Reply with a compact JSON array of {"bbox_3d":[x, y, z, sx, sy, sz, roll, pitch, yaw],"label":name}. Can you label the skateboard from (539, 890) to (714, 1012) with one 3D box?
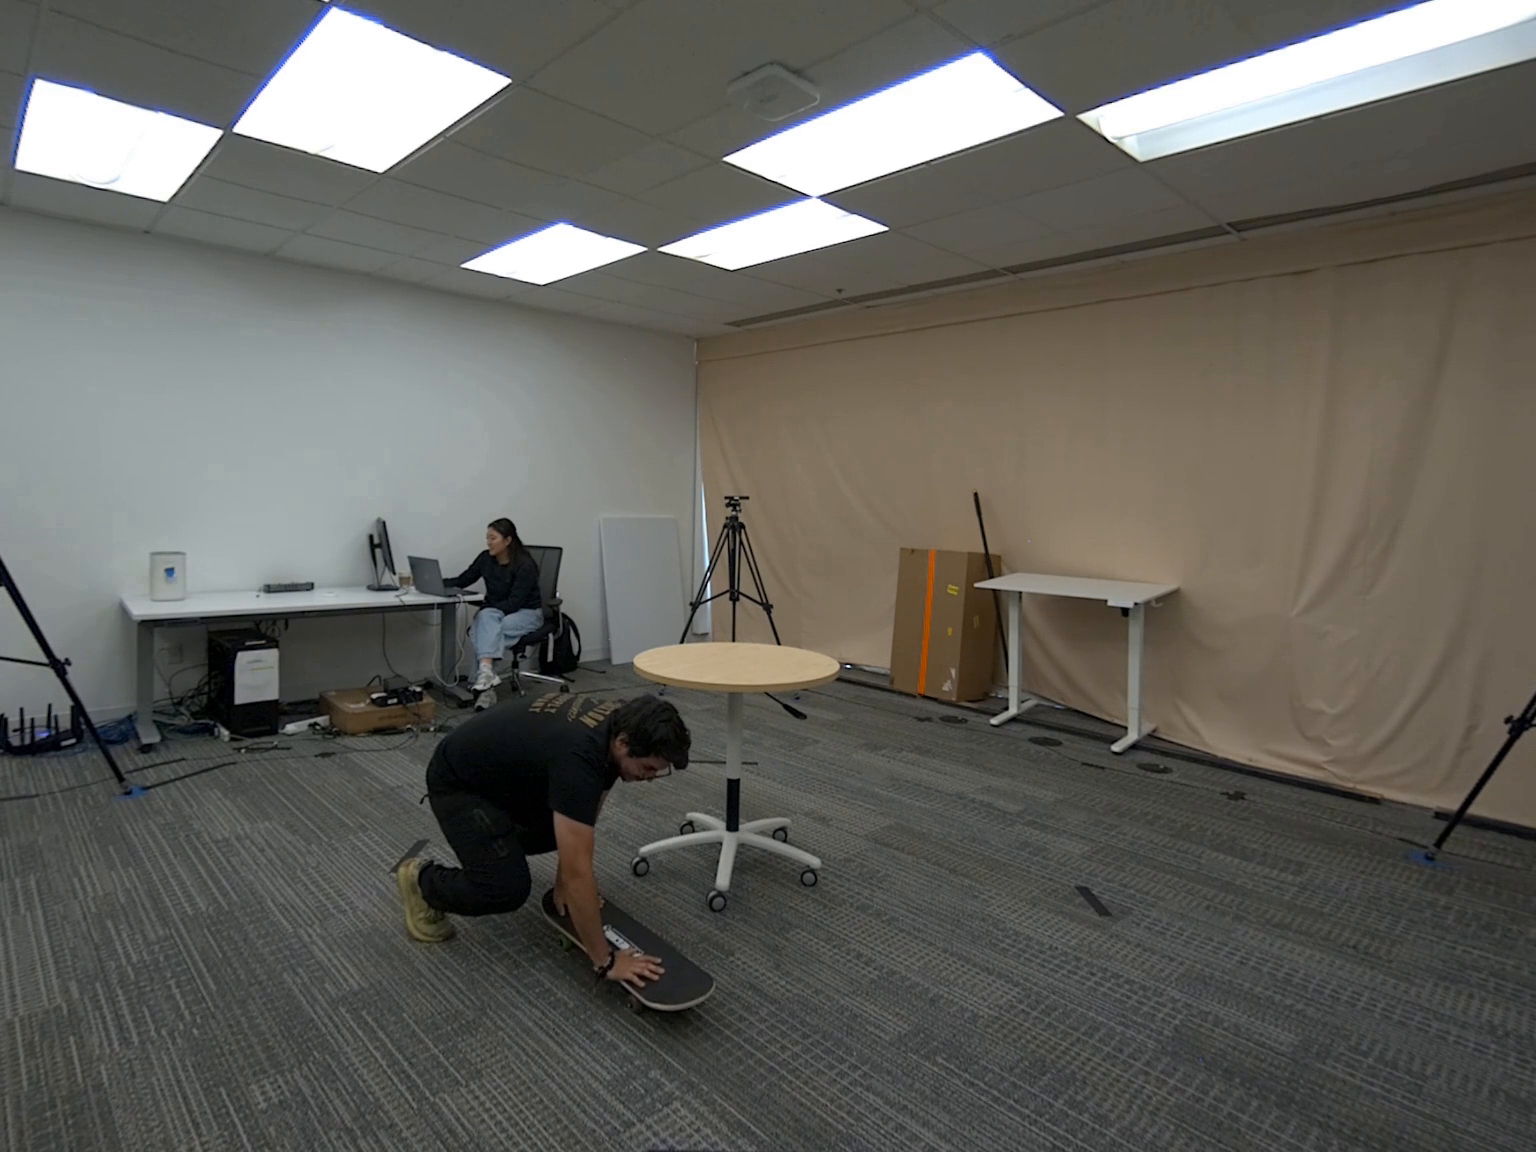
[{"bbox_3d":[-0.437,1.105,2.462,0.189,0.110,0.806,-9,11,-39],"label":"skateboard"}]
